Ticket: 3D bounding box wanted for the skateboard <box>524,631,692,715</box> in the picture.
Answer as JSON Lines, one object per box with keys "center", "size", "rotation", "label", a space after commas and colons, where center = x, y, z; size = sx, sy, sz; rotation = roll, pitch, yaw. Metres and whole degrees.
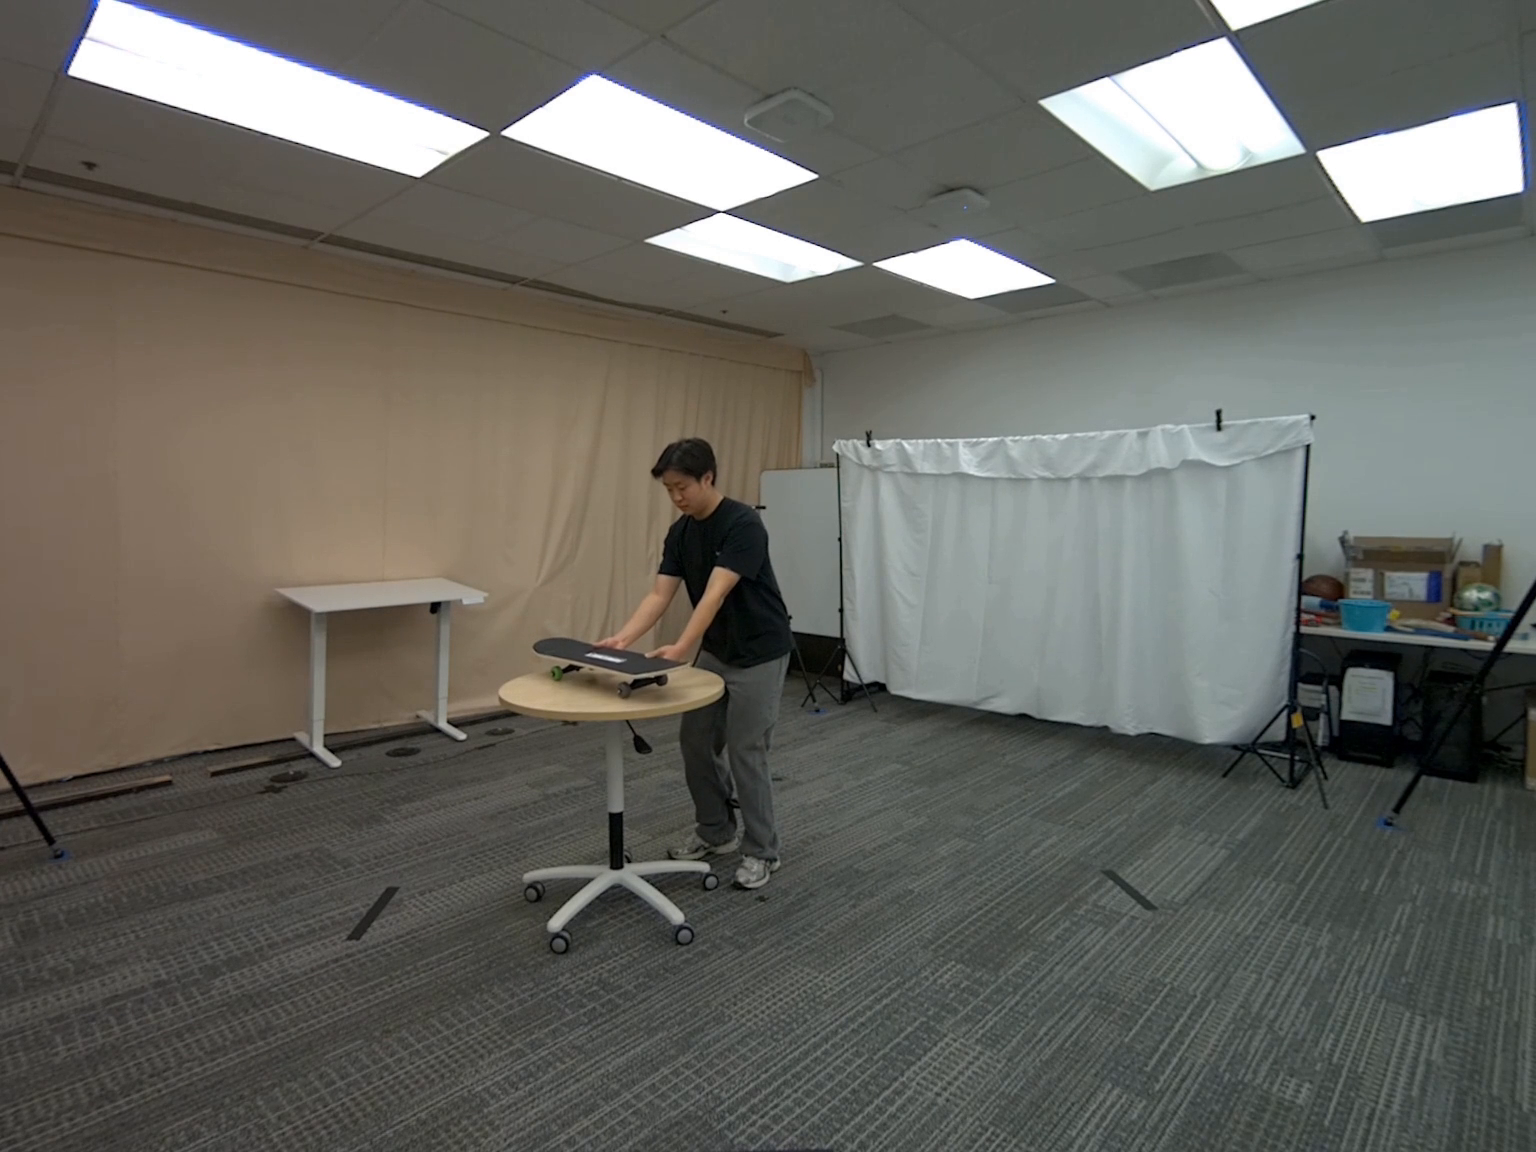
{"center": [-0.567, 0.308, 2.860], "size": [0.188, 0.110, 0.811], "rotation": [-10, 11, -38], "label": "skateboard"}
